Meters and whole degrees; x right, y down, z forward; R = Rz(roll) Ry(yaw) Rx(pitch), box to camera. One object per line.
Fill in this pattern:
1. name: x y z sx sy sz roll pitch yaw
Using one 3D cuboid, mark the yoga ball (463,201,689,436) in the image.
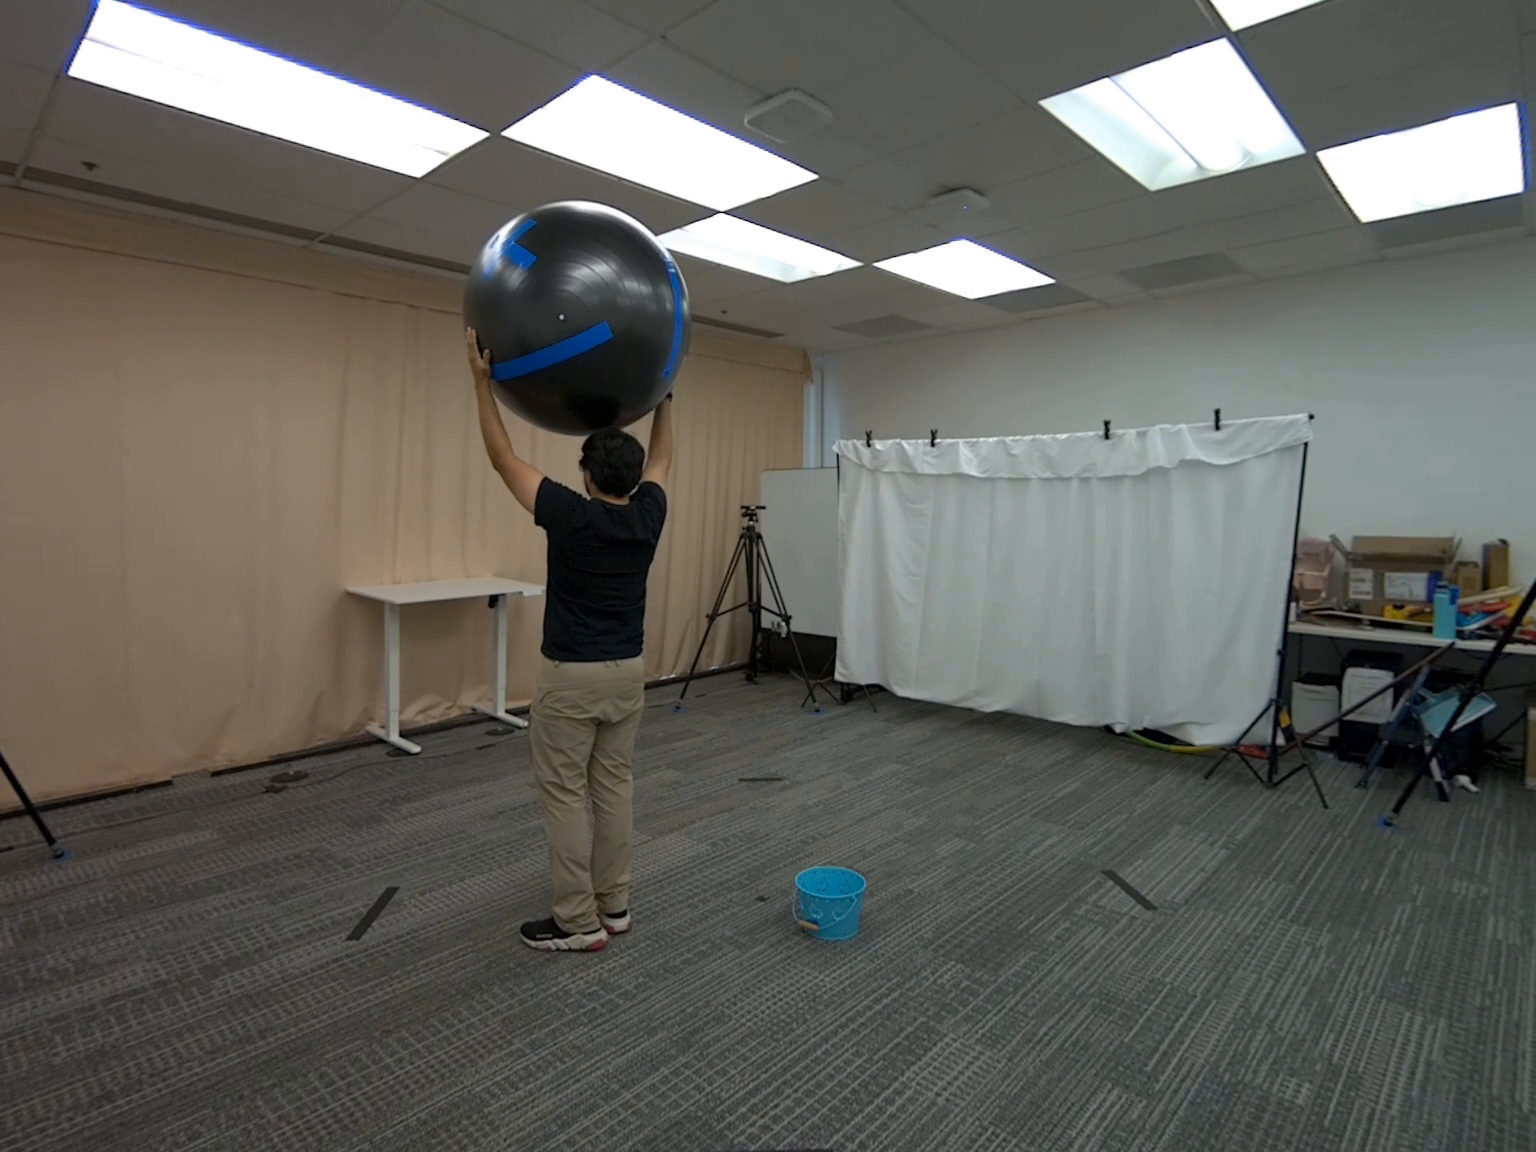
1. yoga ball: -0.638 -0.853 2.844 0.757 0.756 0.761 0 4 -2
